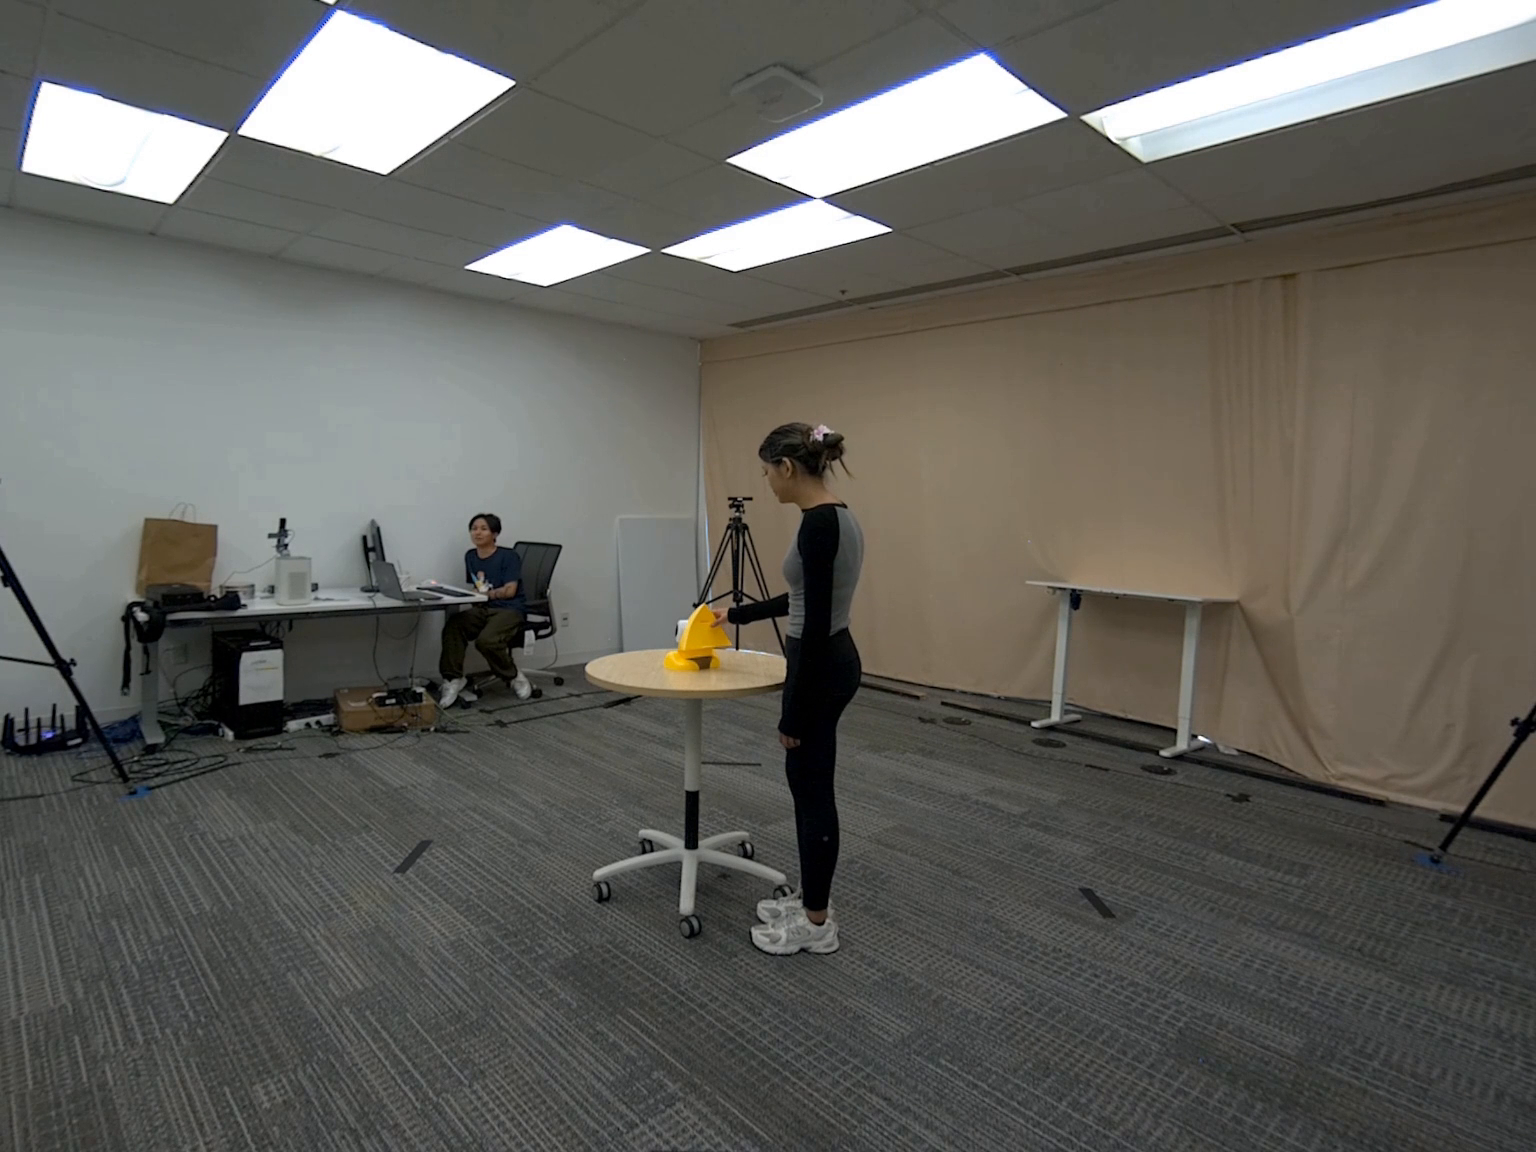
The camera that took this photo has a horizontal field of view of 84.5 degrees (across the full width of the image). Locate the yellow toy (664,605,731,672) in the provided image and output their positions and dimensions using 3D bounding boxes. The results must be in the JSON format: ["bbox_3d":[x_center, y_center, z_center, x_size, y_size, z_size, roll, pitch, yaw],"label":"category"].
[{"bbox_3d":[-0.276,0.210,2.989,0.200,0.230,0.198,-2,4,-39],"label":"yellow toy"}]
